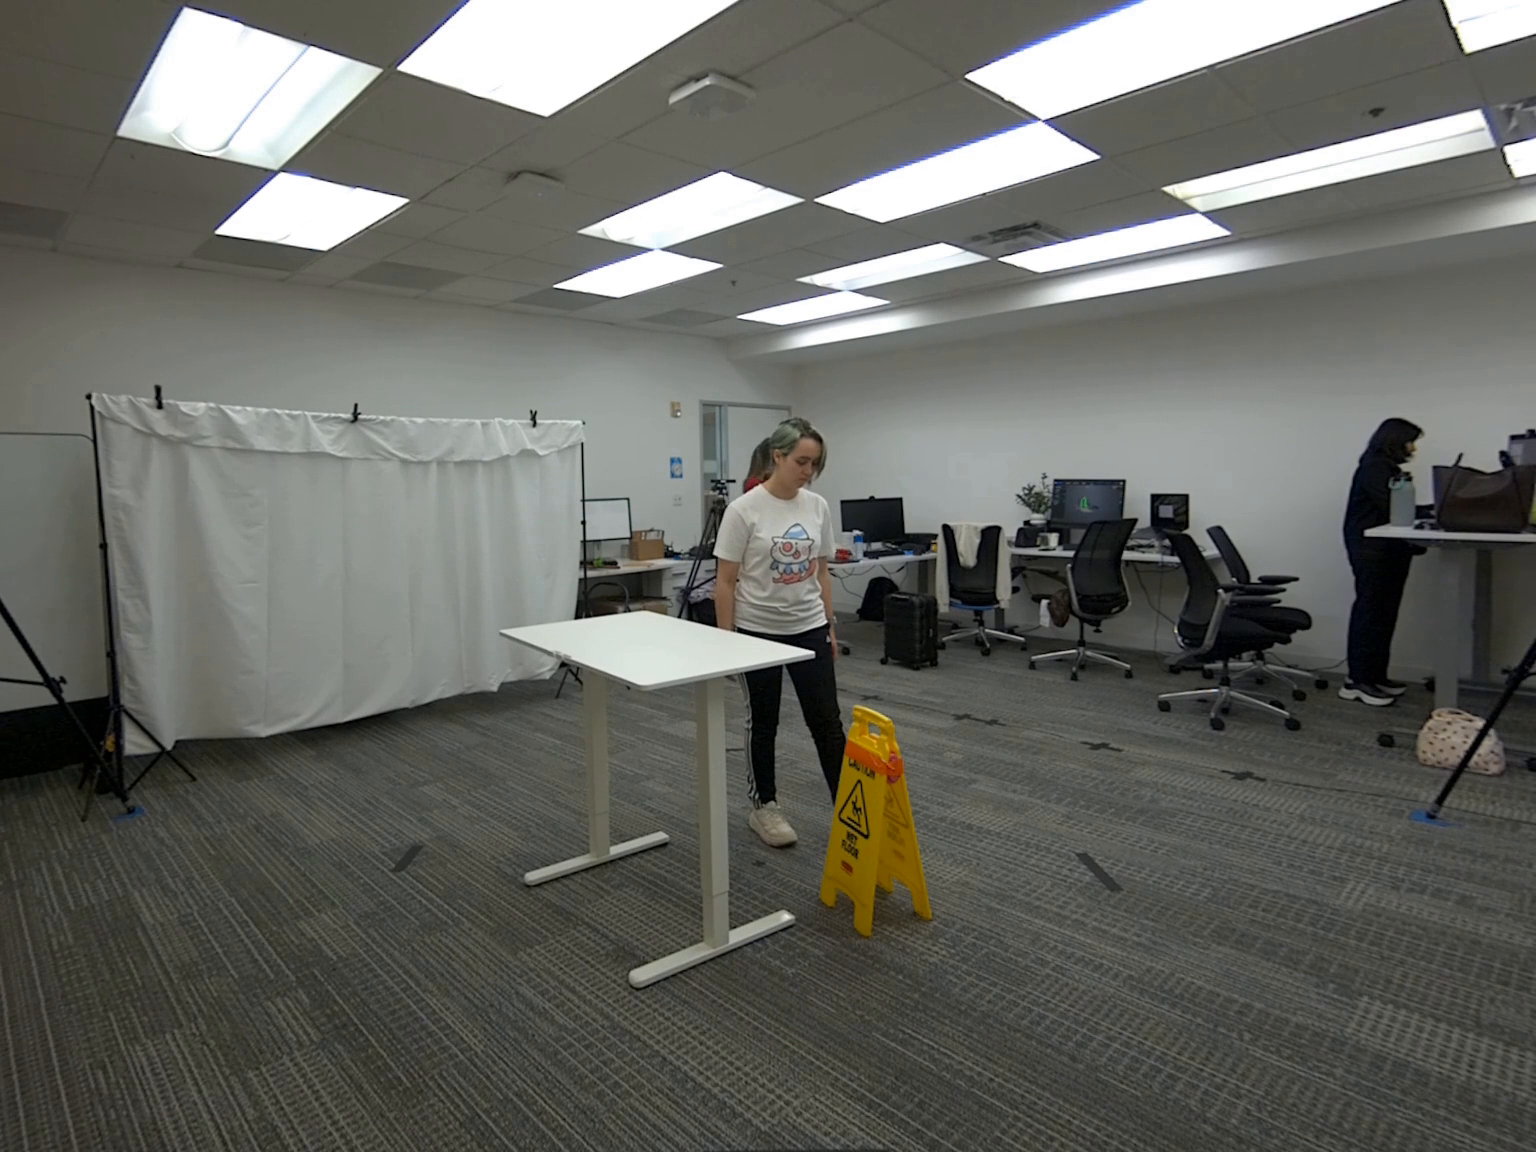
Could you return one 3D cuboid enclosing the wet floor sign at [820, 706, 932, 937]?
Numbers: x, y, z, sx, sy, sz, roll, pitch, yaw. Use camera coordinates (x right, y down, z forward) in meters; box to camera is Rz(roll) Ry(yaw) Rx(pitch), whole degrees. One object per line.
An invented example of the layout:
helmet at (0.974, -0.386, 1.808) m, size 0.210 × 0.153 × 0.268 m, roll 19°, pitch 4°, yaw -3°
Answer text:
wet floor sign at (0.341, 0.758, 2.740) m, size 0.284 × 0.644 × 0.289 m, roll -2°, pitch 4°, yaw -24°
